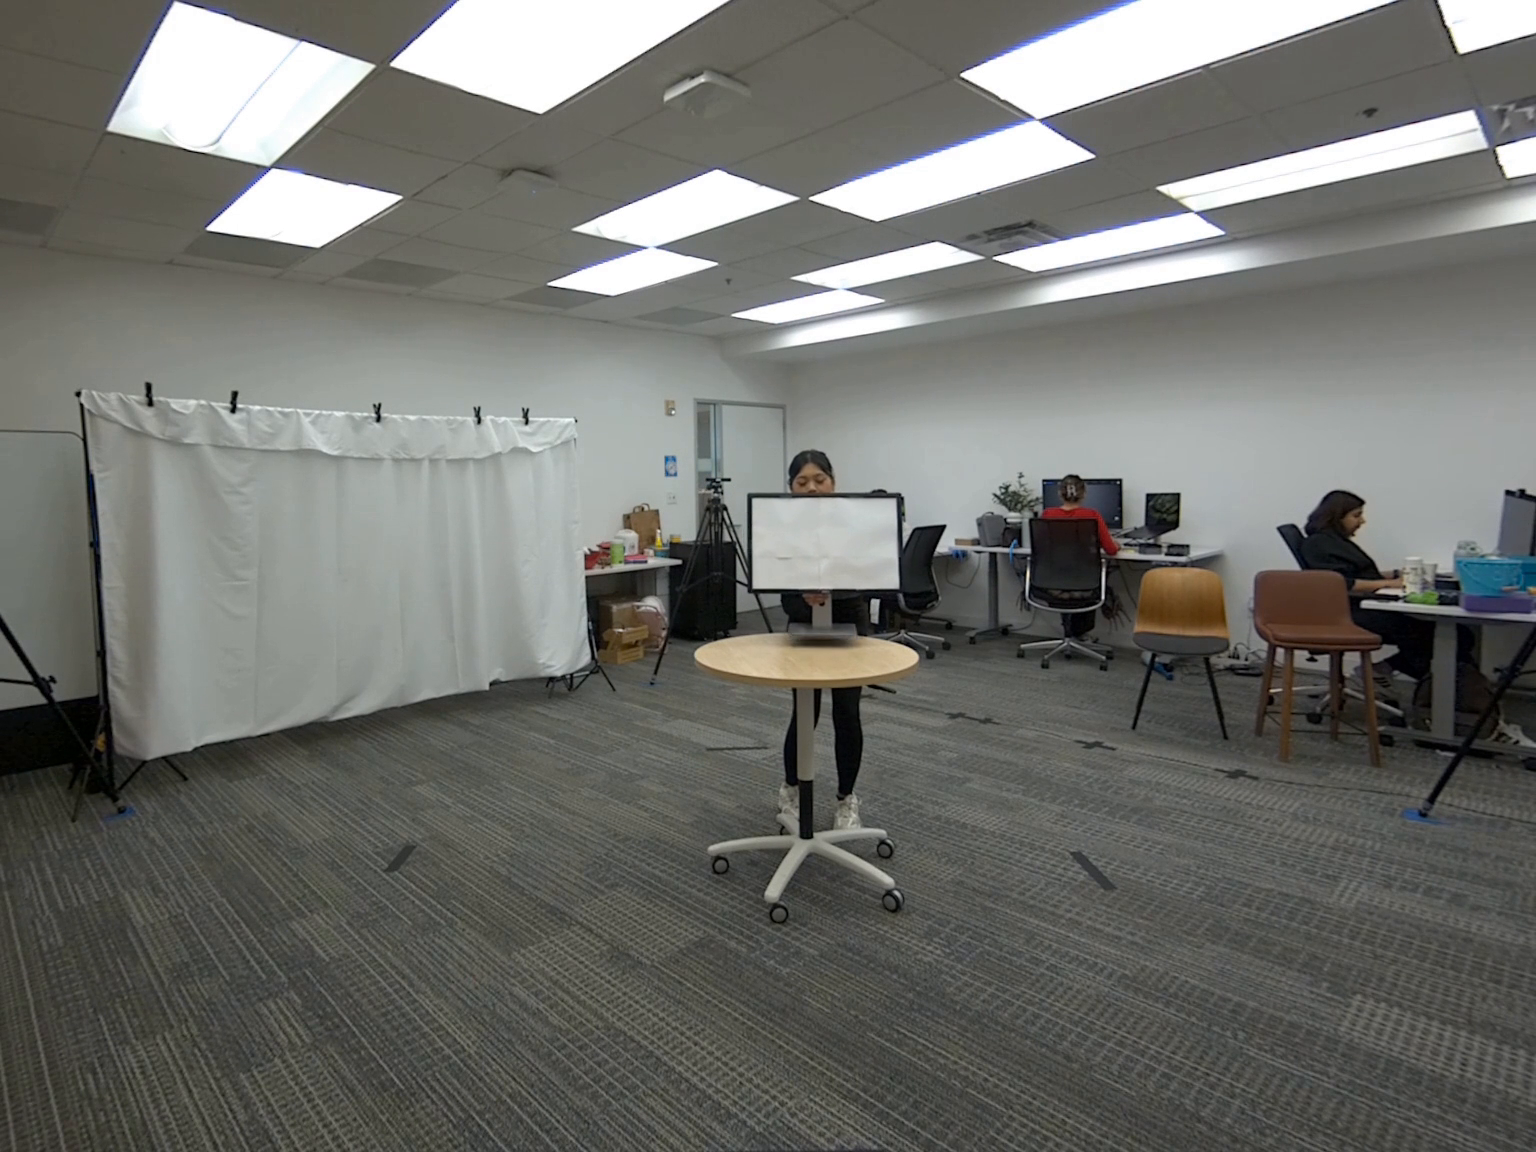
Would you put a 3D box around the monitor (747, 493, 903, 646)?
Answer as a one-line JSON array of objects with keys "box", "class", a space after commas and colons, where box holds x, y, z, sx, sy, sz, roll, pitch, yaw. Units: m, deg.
[{"box": [0.193, -0.044, 3.117, 0.538, 0.520, 0.188, 0, 6, -2], "class": "monitor"}]
